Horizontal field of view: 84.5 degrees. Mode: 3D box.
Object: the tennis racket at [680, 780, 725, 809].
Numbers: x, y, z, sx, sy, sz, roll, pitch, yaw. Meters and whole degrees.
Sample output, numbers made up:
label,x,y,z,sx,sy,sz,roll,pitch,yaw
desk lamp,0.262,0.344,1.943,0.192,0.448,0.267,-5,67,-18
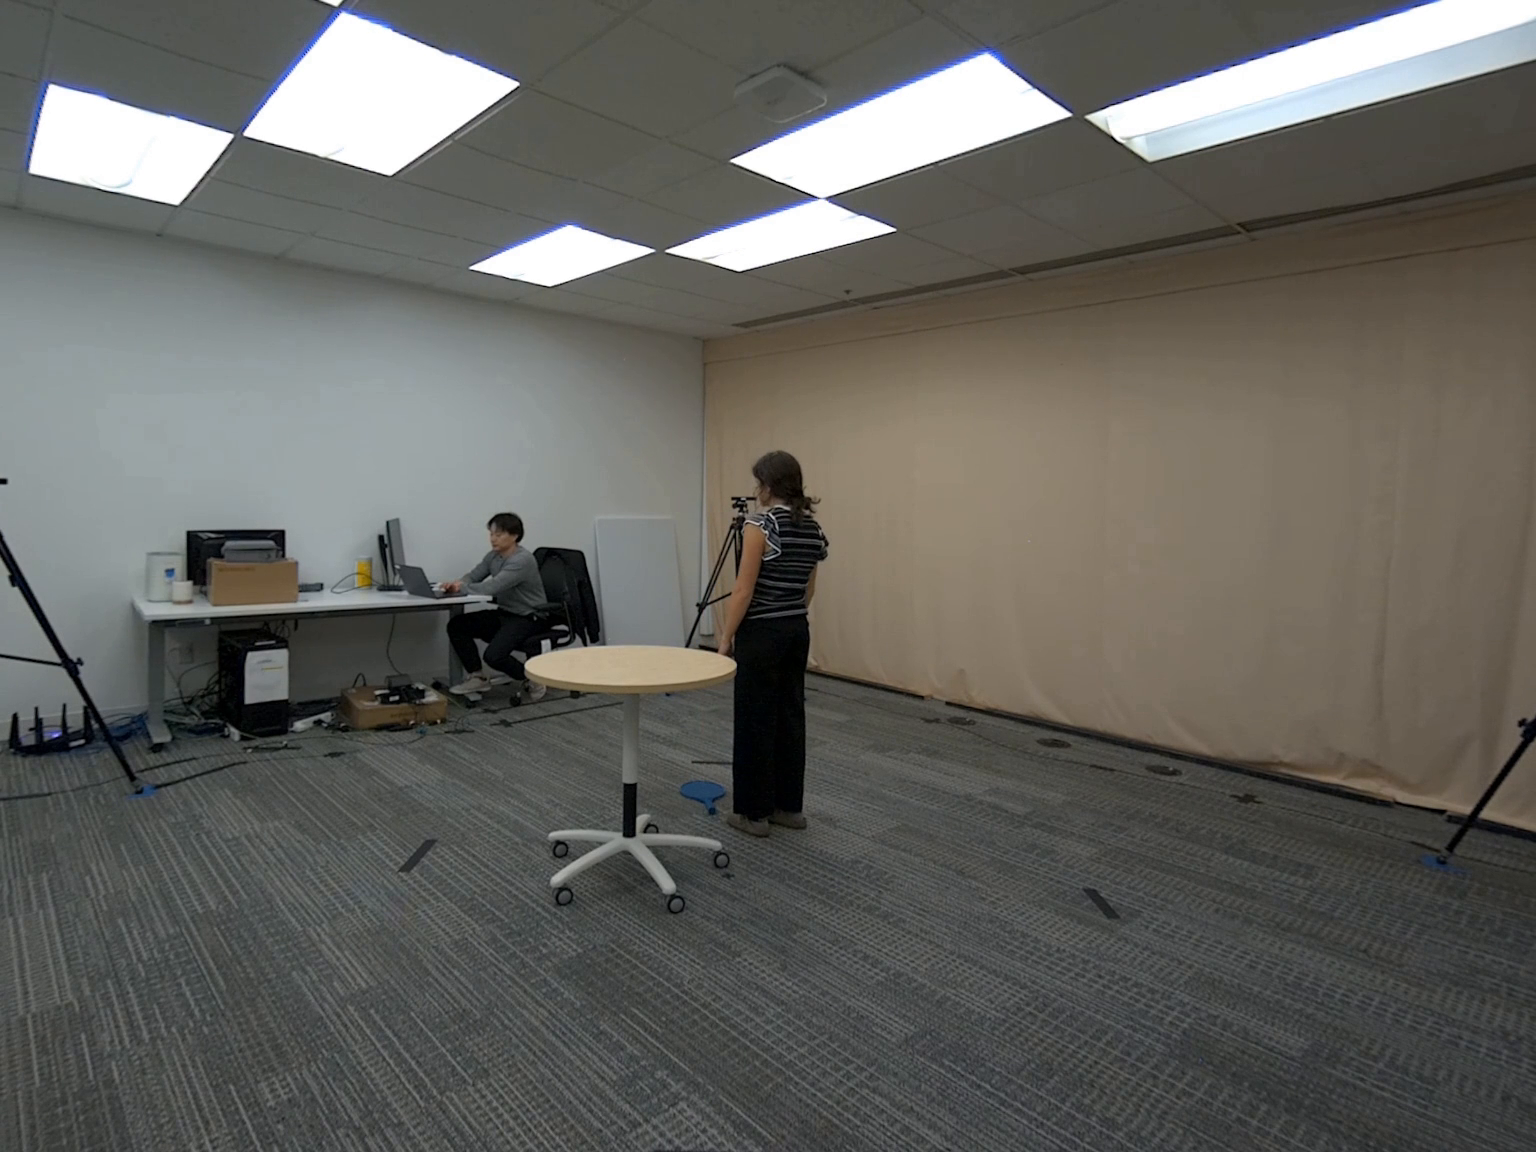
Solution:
label,x,y,z,sx,sy,sz,roll,pitch,yaw
tennis racket,-0.303,1.019,3.914,0.211,0.032,0.438,1,4,-14
